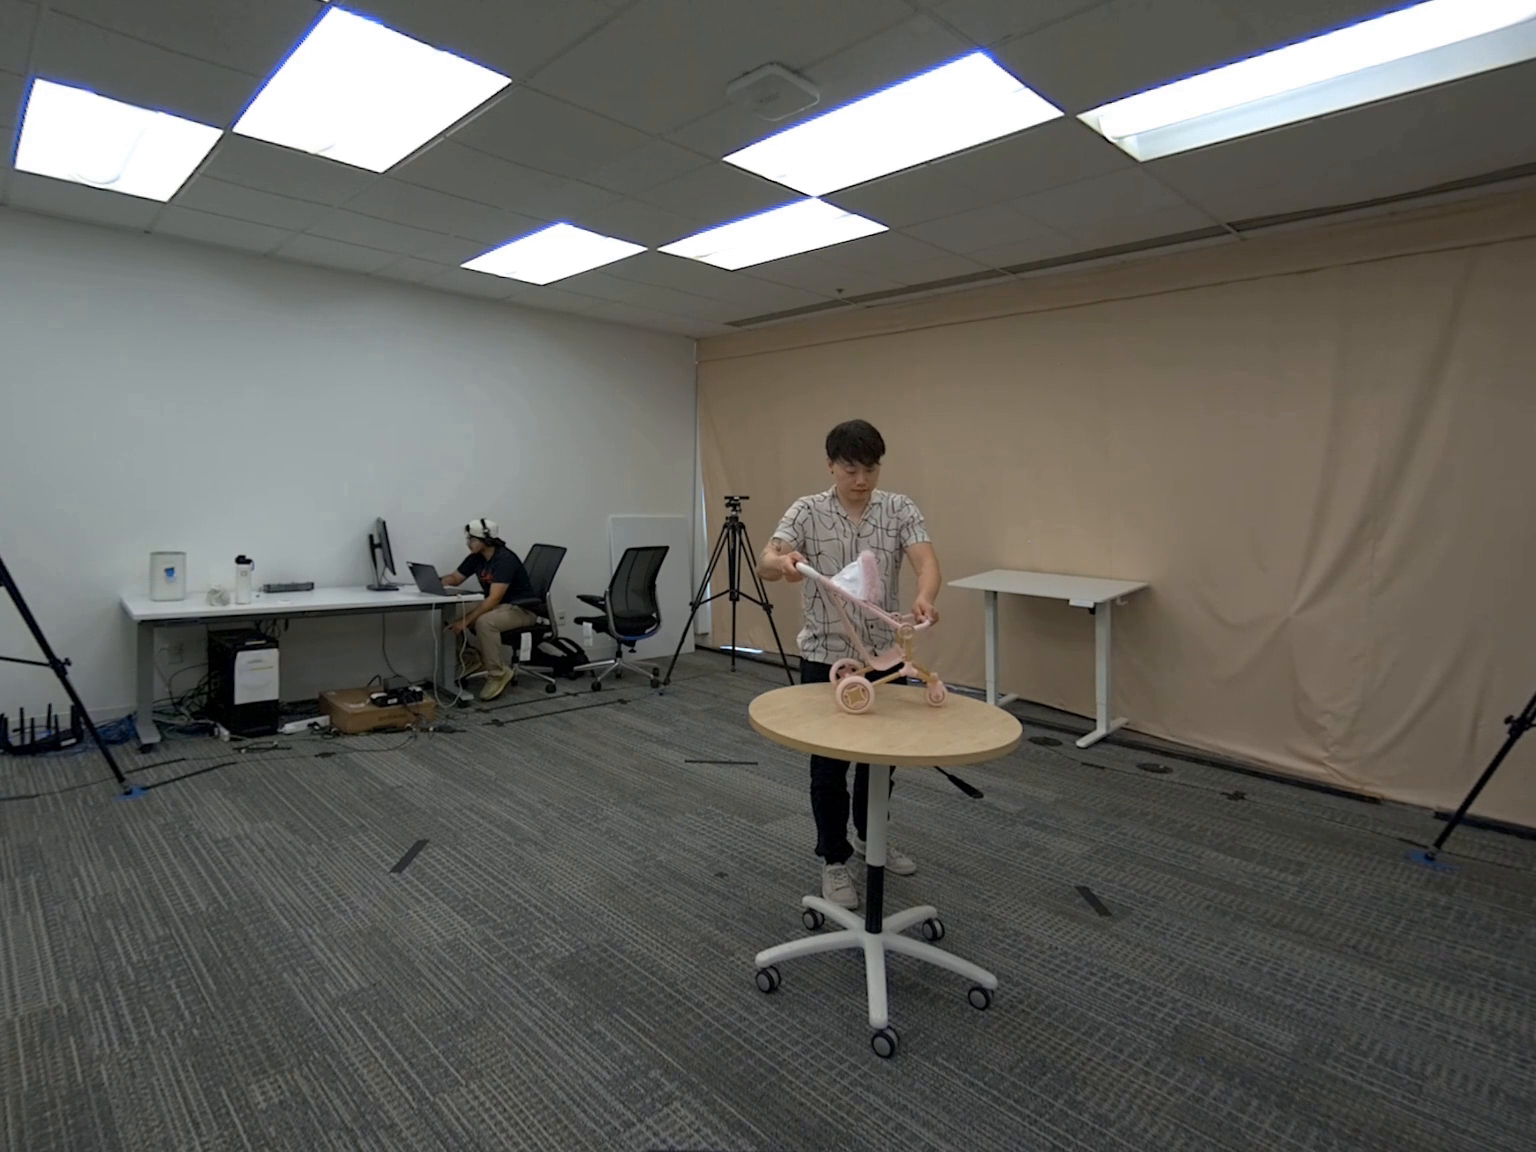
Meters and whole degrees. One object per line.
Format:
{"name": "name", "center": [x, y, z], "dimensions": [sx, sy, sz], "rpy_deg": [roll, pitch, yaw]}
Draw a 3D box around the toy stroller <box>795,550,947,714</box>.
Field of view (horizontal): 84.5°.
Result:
{"name": "toy stroller", "center": [0.306, 0.167, 2.504], "dimensions": [0.343, 0.533, 0.281], "rpy_deg": [-13, 3, 7]}
